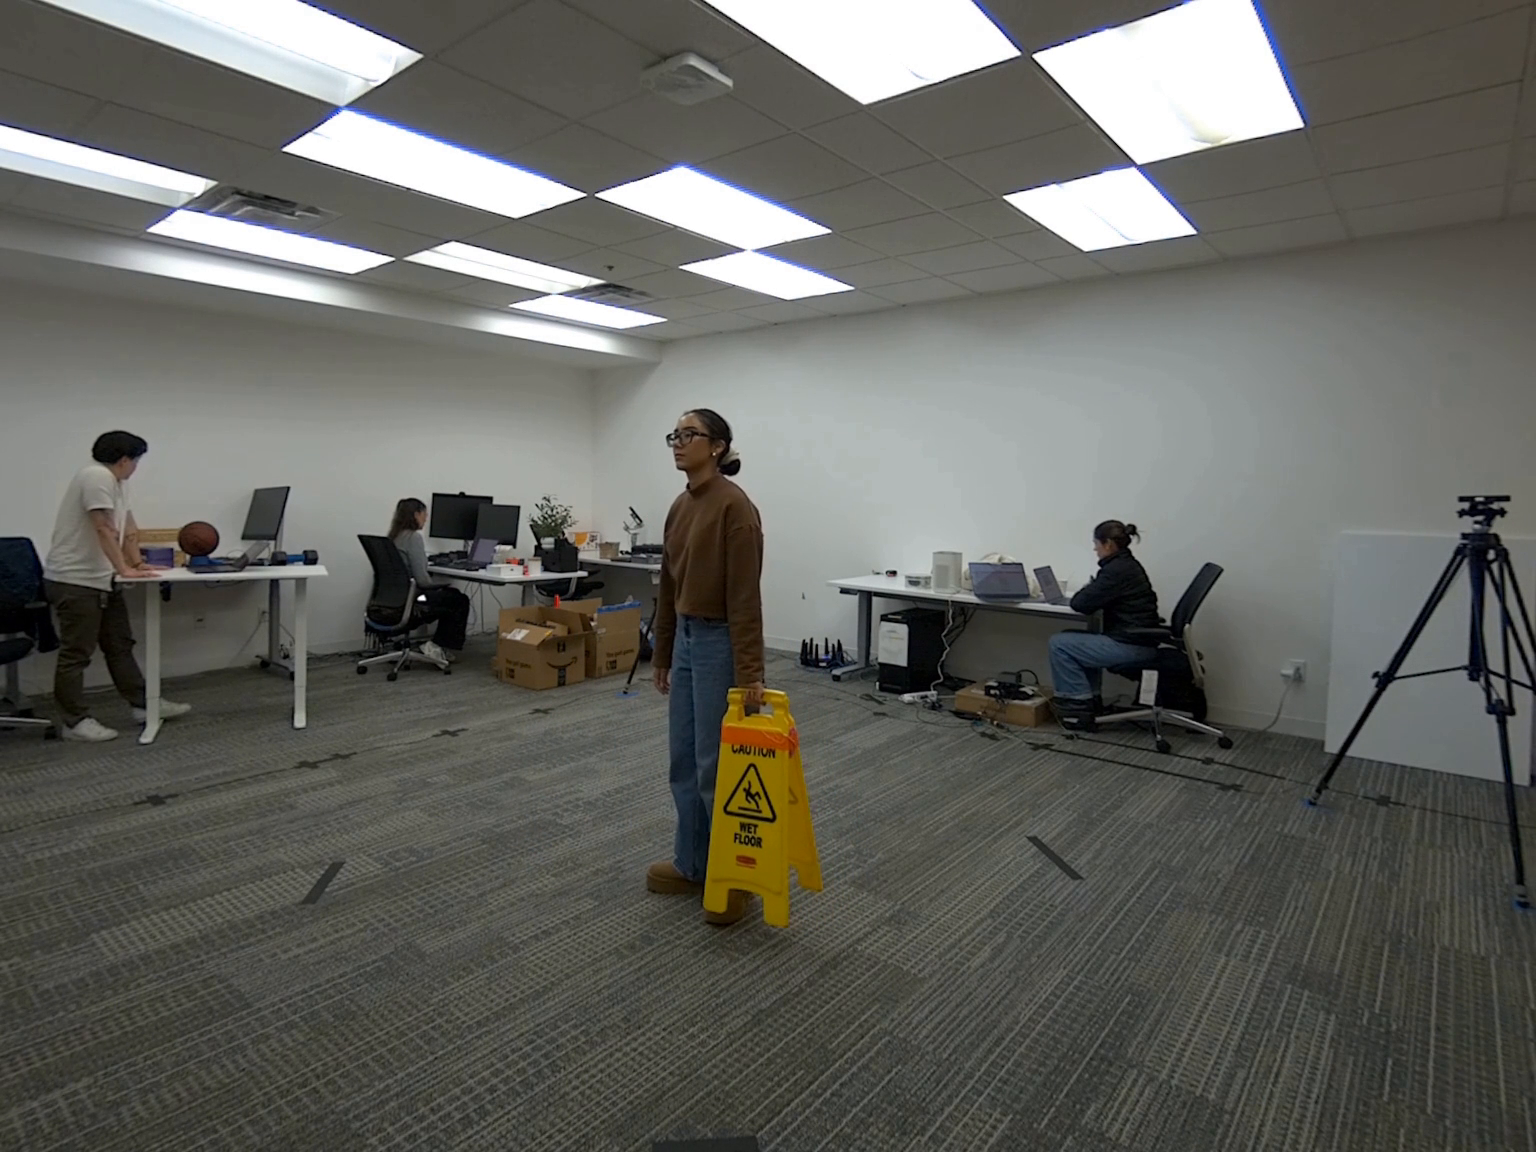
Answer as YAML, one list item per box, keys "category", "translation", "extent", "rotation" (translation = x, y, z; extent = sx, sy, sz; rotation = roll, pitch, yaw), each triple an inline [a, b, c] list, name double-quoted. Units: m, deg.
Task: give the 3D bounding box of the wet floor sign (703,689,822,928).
- category: "wet floor sign"
  translation: [-0.026, 0.670, 2.610]
  extent: [0.290, 0.646, 0.282]
  rotation: [-1, 1, 28]
